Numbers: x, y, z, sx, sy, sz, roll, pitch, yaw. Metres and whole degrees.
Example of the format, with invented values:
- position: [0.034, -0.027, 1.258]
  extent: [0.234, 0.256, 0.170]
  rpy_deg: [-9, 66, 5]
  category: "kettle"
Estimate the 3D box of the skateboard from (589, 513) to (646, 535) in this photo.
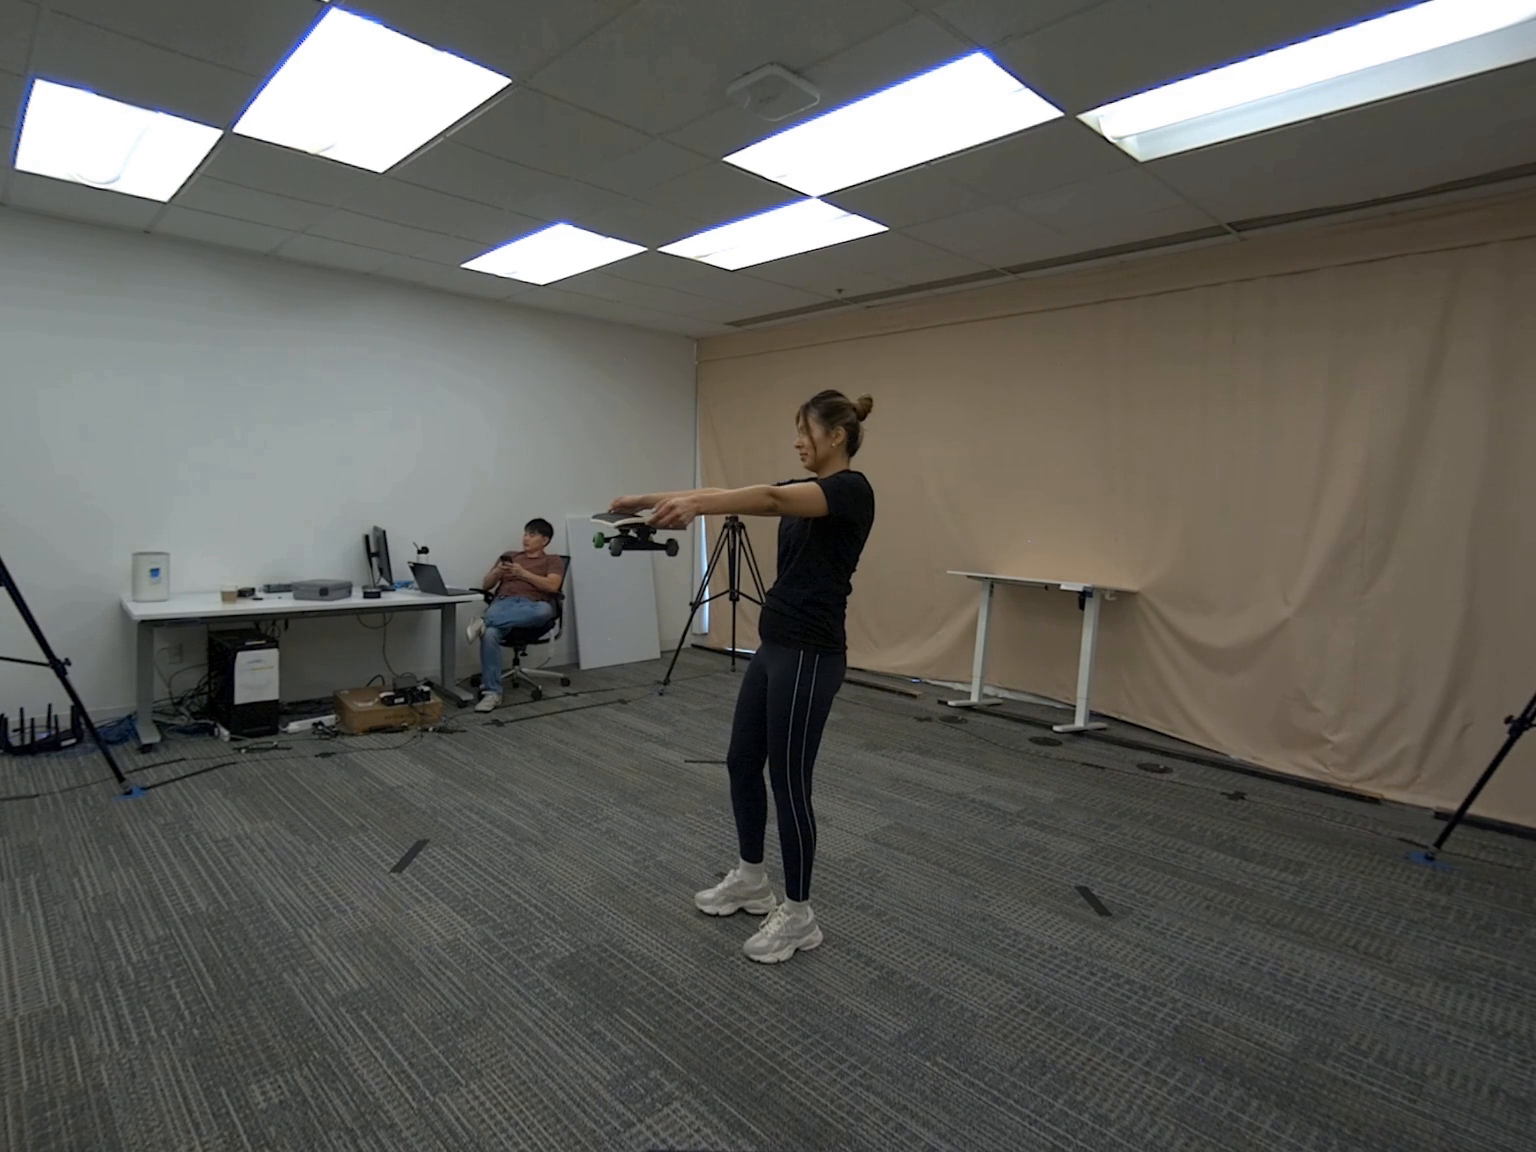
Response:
- position: [-0.386, -0.122, 2.450]
  extent: [0.191, 0.110, 0.797]
  rpy_deg: [0, 5, -17]
  category: "skateboard"
